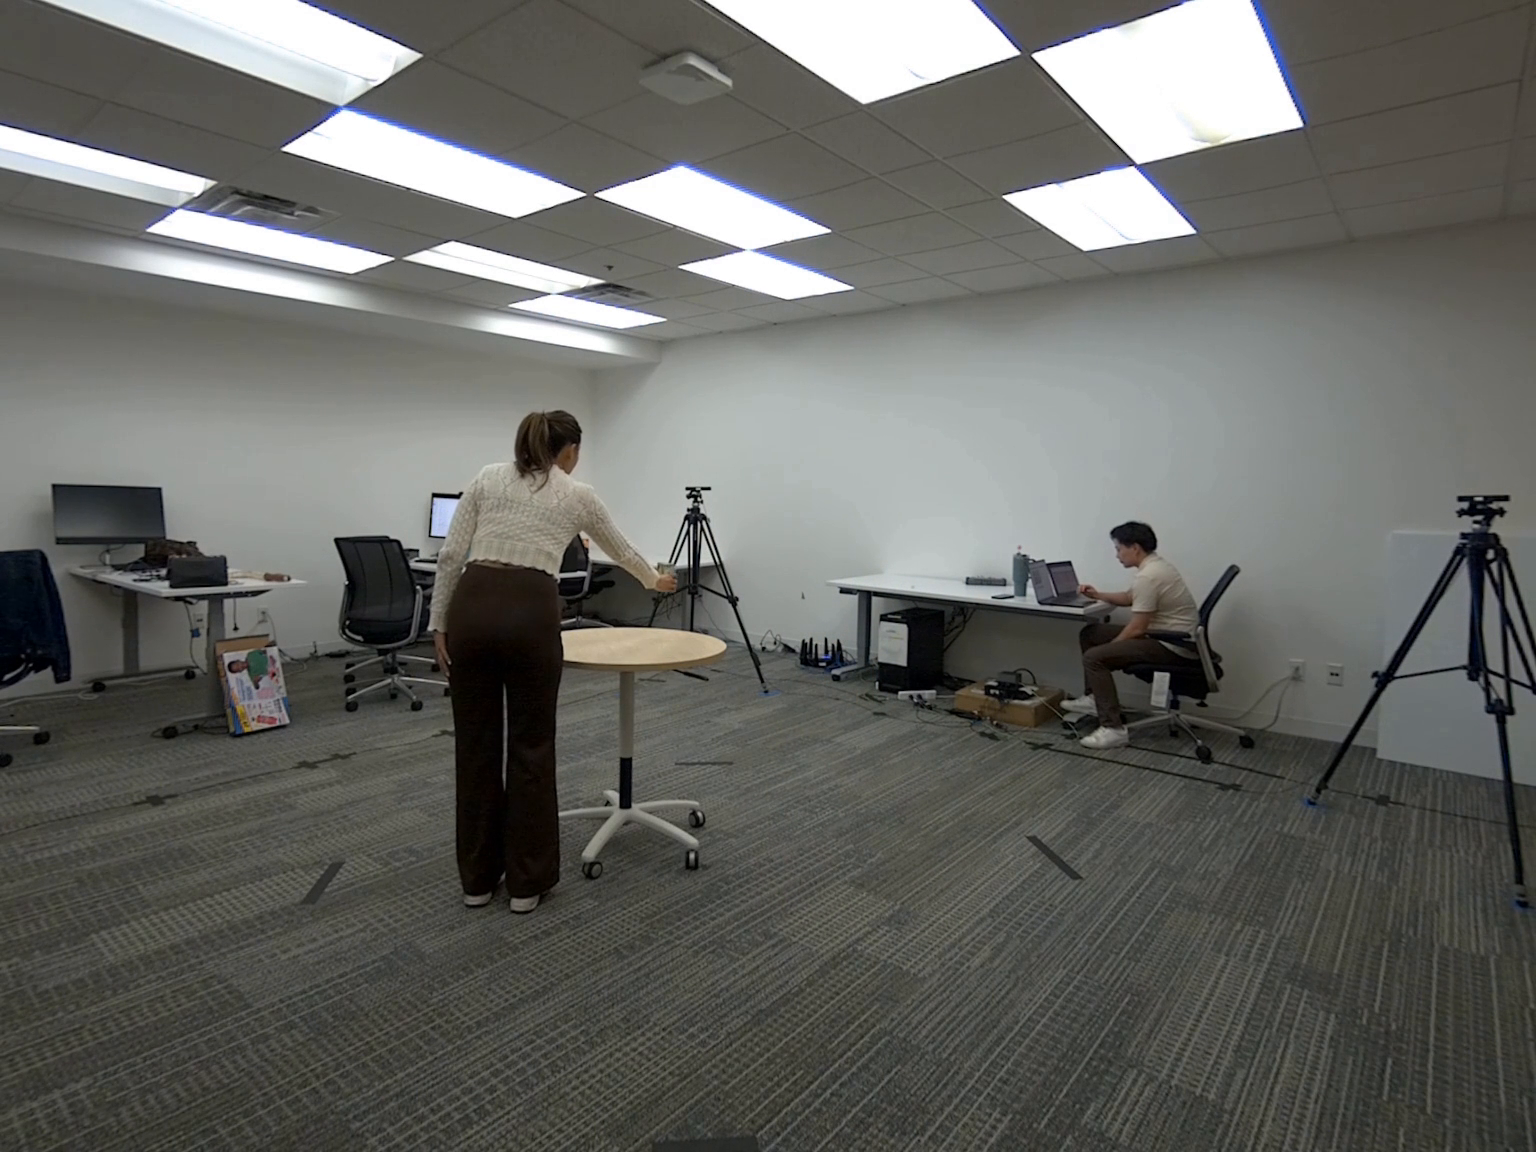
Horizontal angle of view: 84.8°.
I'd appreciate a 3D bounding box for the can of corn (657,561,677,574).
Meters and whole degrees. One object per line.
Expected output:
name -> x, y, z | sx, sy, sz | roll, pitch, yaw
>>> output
can of corn -> -0.426, -0.001, 3.499 | 0.074, 0.111, 0.074 | 5, 3, -2
